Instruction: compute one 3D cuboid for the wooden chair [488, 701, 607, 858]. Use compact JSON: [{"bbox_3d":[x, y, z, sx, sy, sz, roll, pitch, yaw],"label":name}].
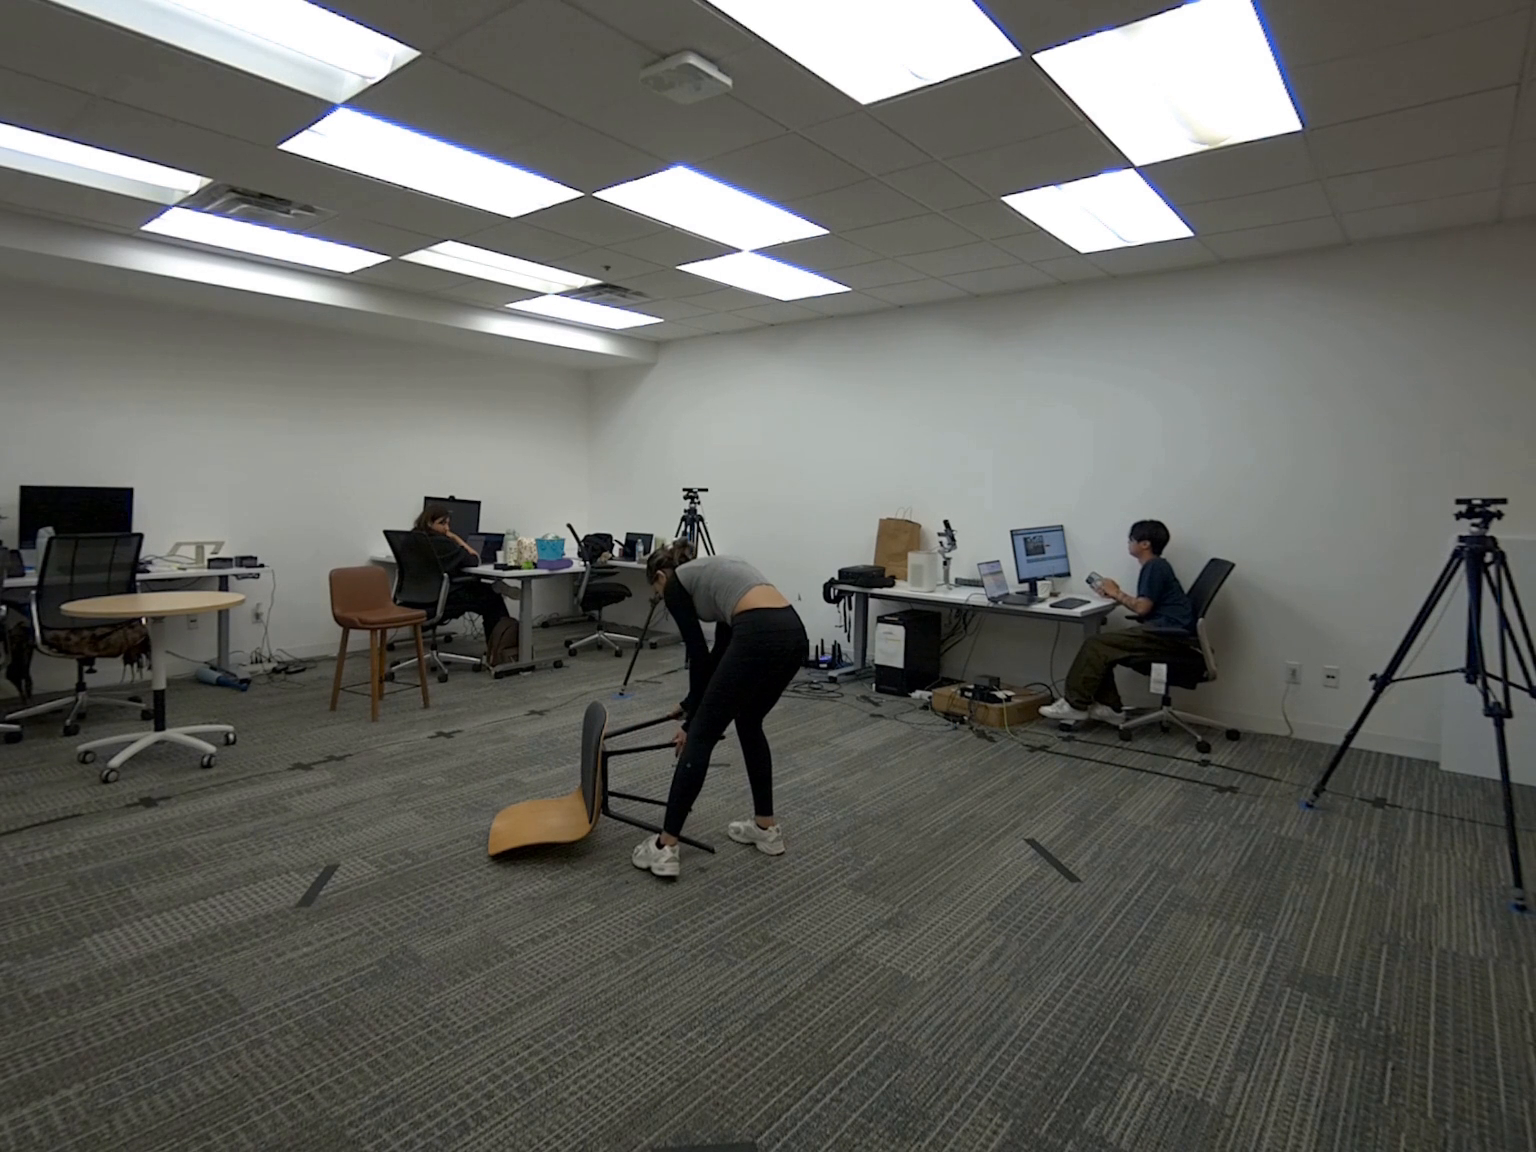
[{"bbox_3d":[-0.671,0.777,3.357,0.865,0.521,0.487,-1,4,-14],"label":"wooden chair"}]
